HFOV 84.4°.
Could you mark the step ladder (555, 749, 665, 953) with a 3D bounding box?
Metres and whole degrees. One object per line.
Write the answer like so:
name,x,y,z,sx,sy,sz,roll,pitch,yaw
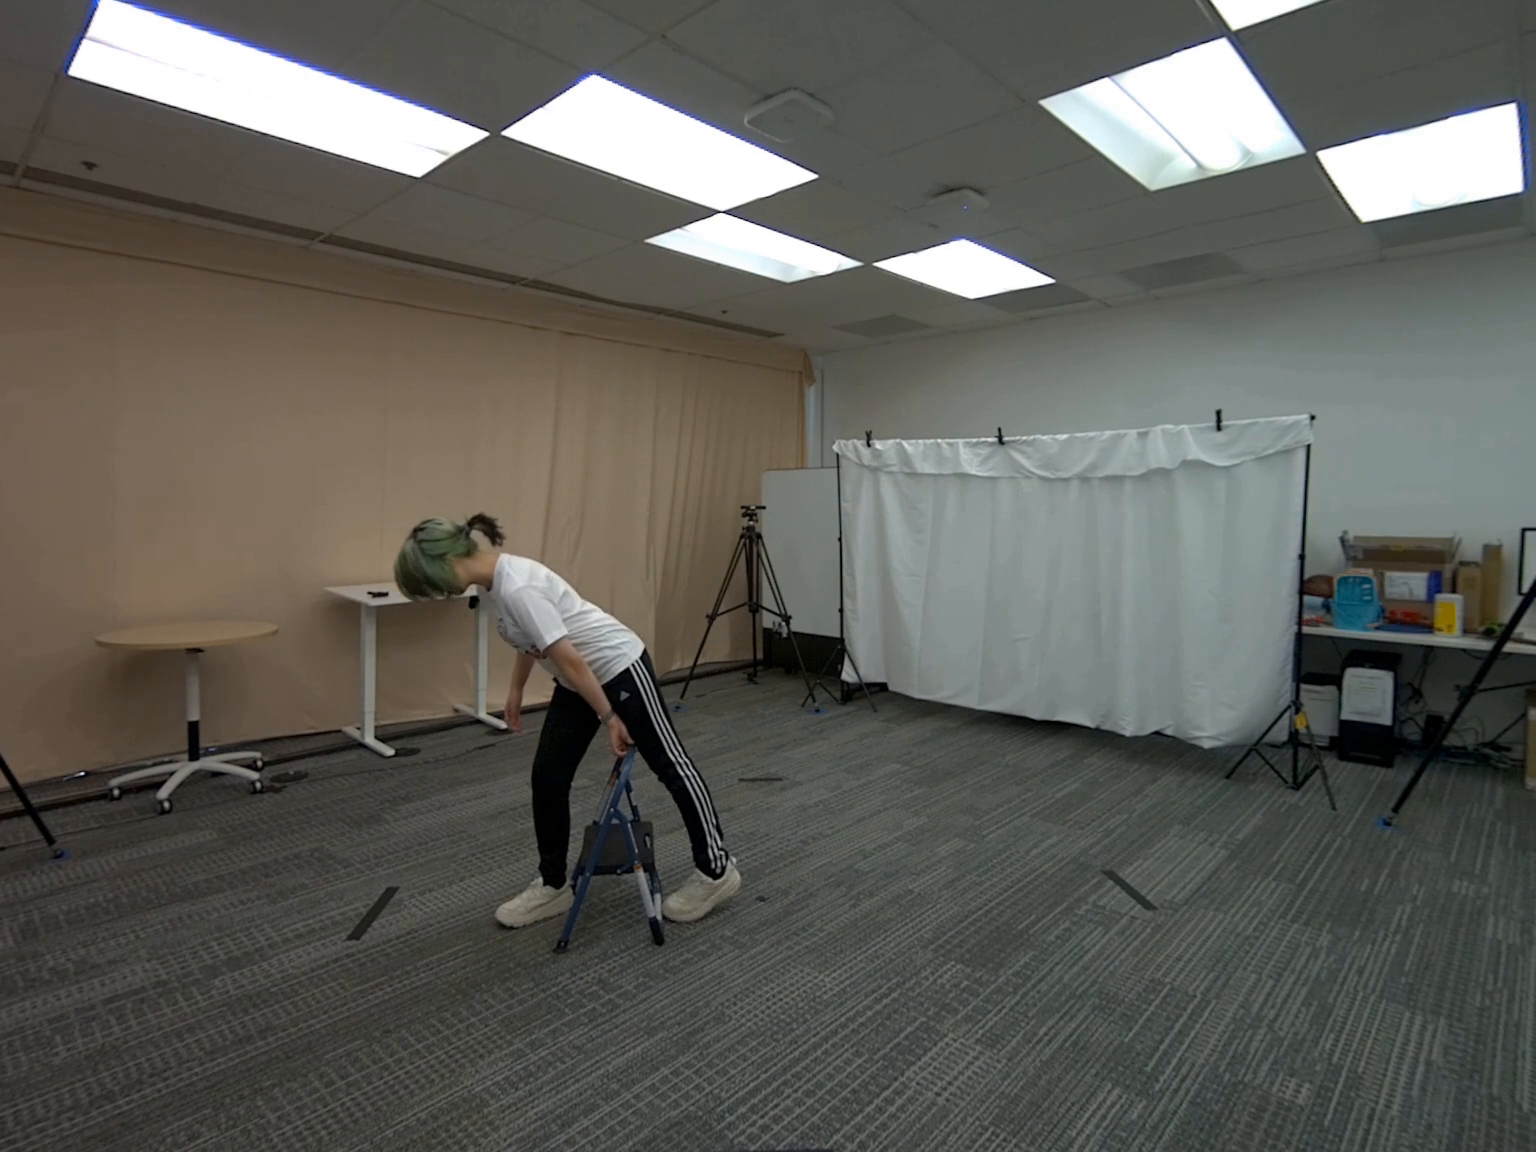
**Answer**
step ladder,-0.532,0.862,2.837,0.347,0.605,0.435,-1,3,-8
